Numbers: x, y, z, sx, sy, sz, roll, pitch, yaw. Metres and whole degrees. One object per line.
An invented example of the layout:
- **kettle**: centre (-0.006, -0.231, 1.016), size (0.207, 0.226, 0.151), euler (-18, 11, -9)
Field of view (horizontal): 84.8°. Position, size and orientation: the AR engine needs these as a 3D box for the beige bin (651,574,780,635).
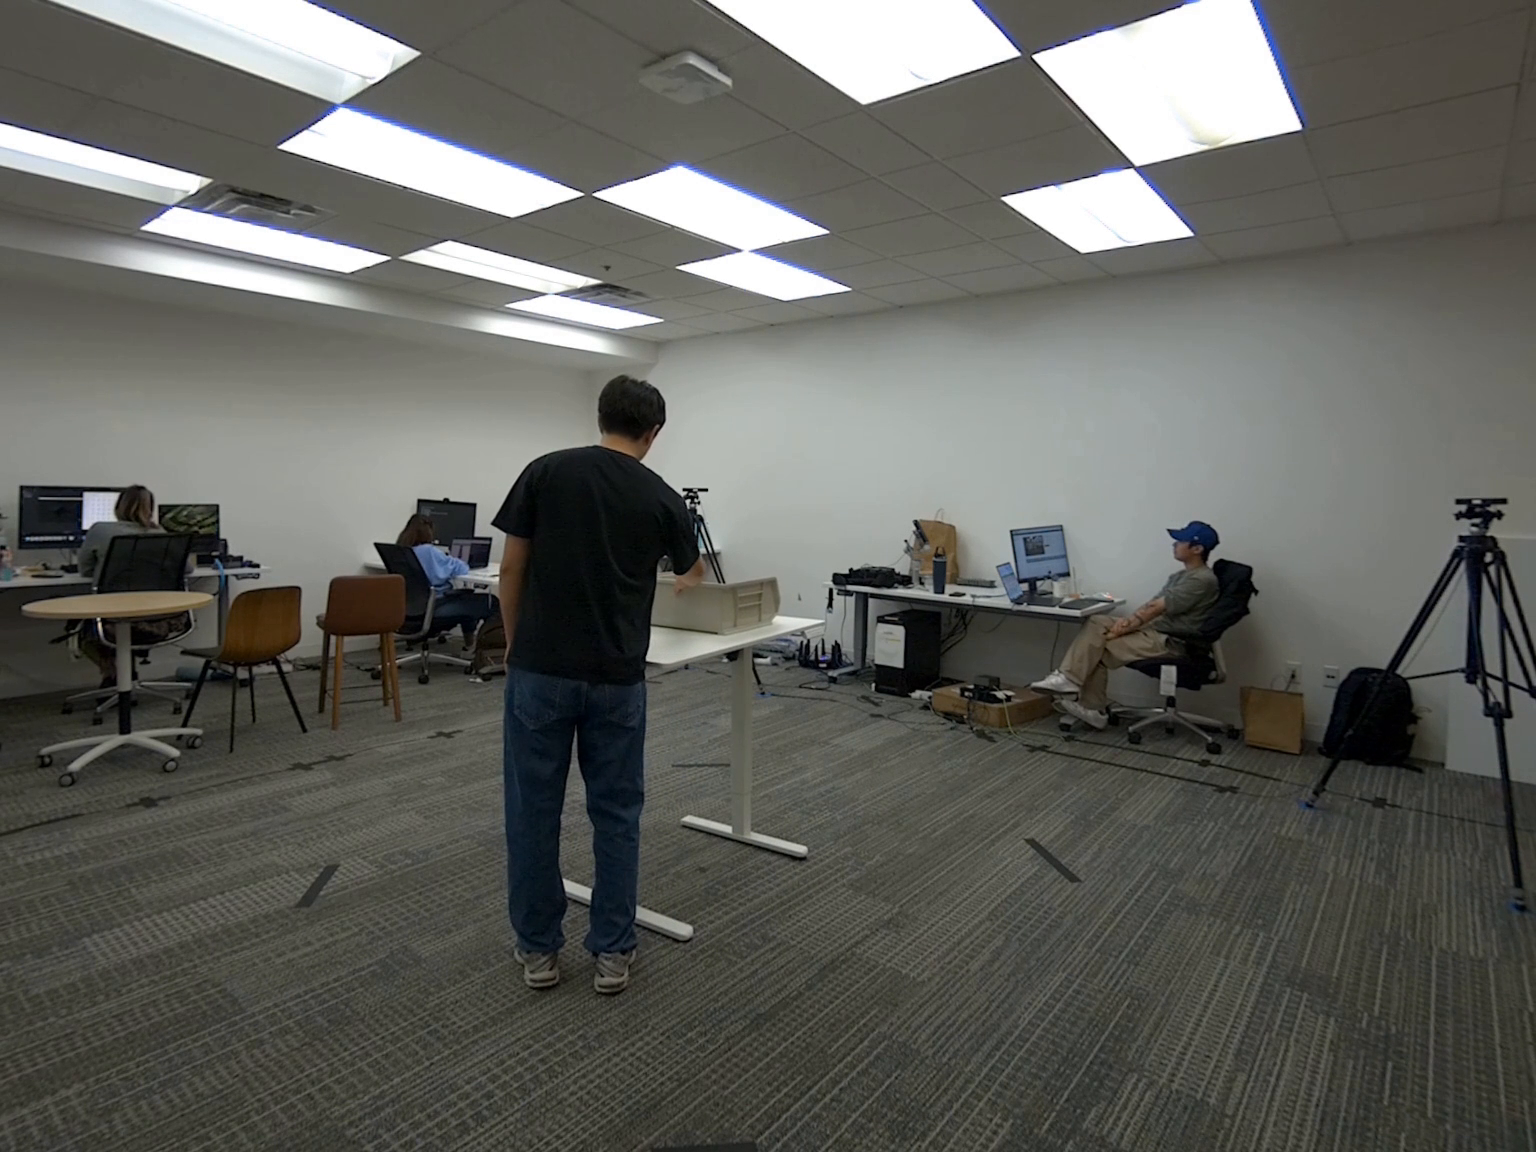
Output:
- **beige bin**: centre (-0.238, 0.090, 3.188), size (0.436, 0.188, 0.367), euler (4, 7, 33)
